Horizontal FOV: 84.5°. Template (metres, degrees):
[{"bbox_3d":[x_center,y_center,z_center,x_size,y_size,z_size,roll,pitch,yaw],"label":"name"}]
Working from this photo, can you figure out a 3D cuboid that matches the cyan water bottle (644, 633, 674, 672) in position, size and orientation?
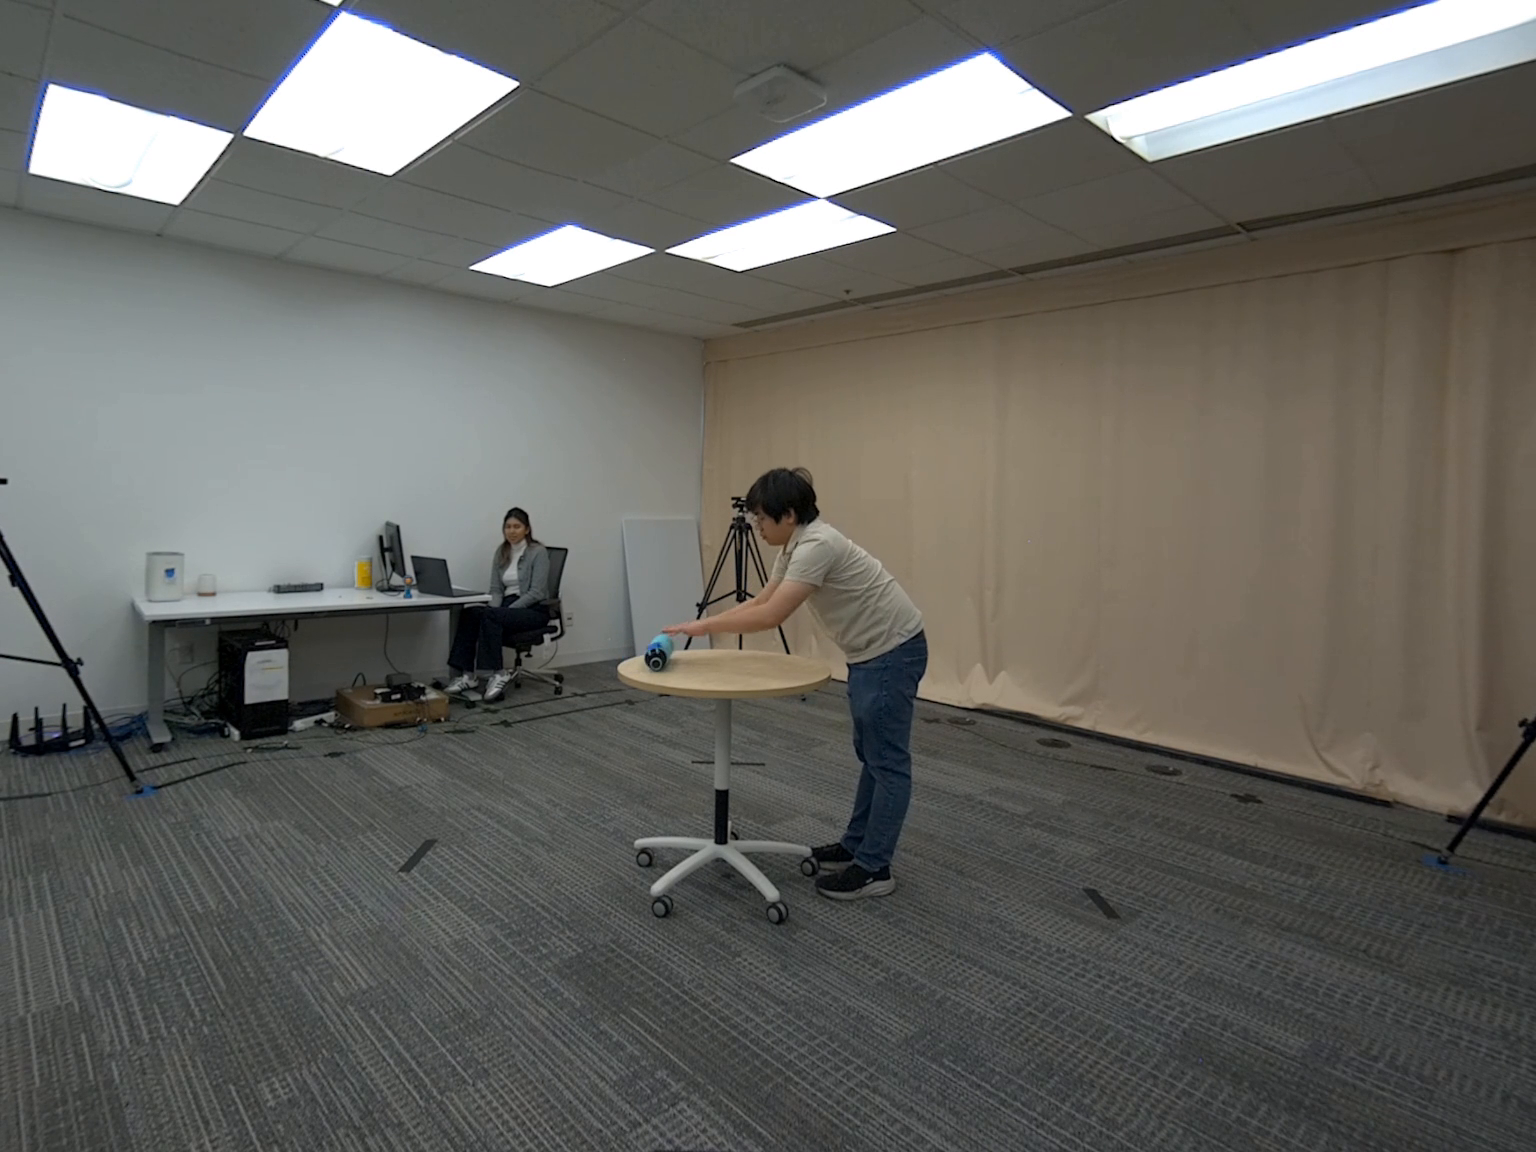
[{"bbox_3d":[-0.394,0.277,3.050,0.092,0.092,0.284,1,6,-1],"label":"cyan water bottle"}]
